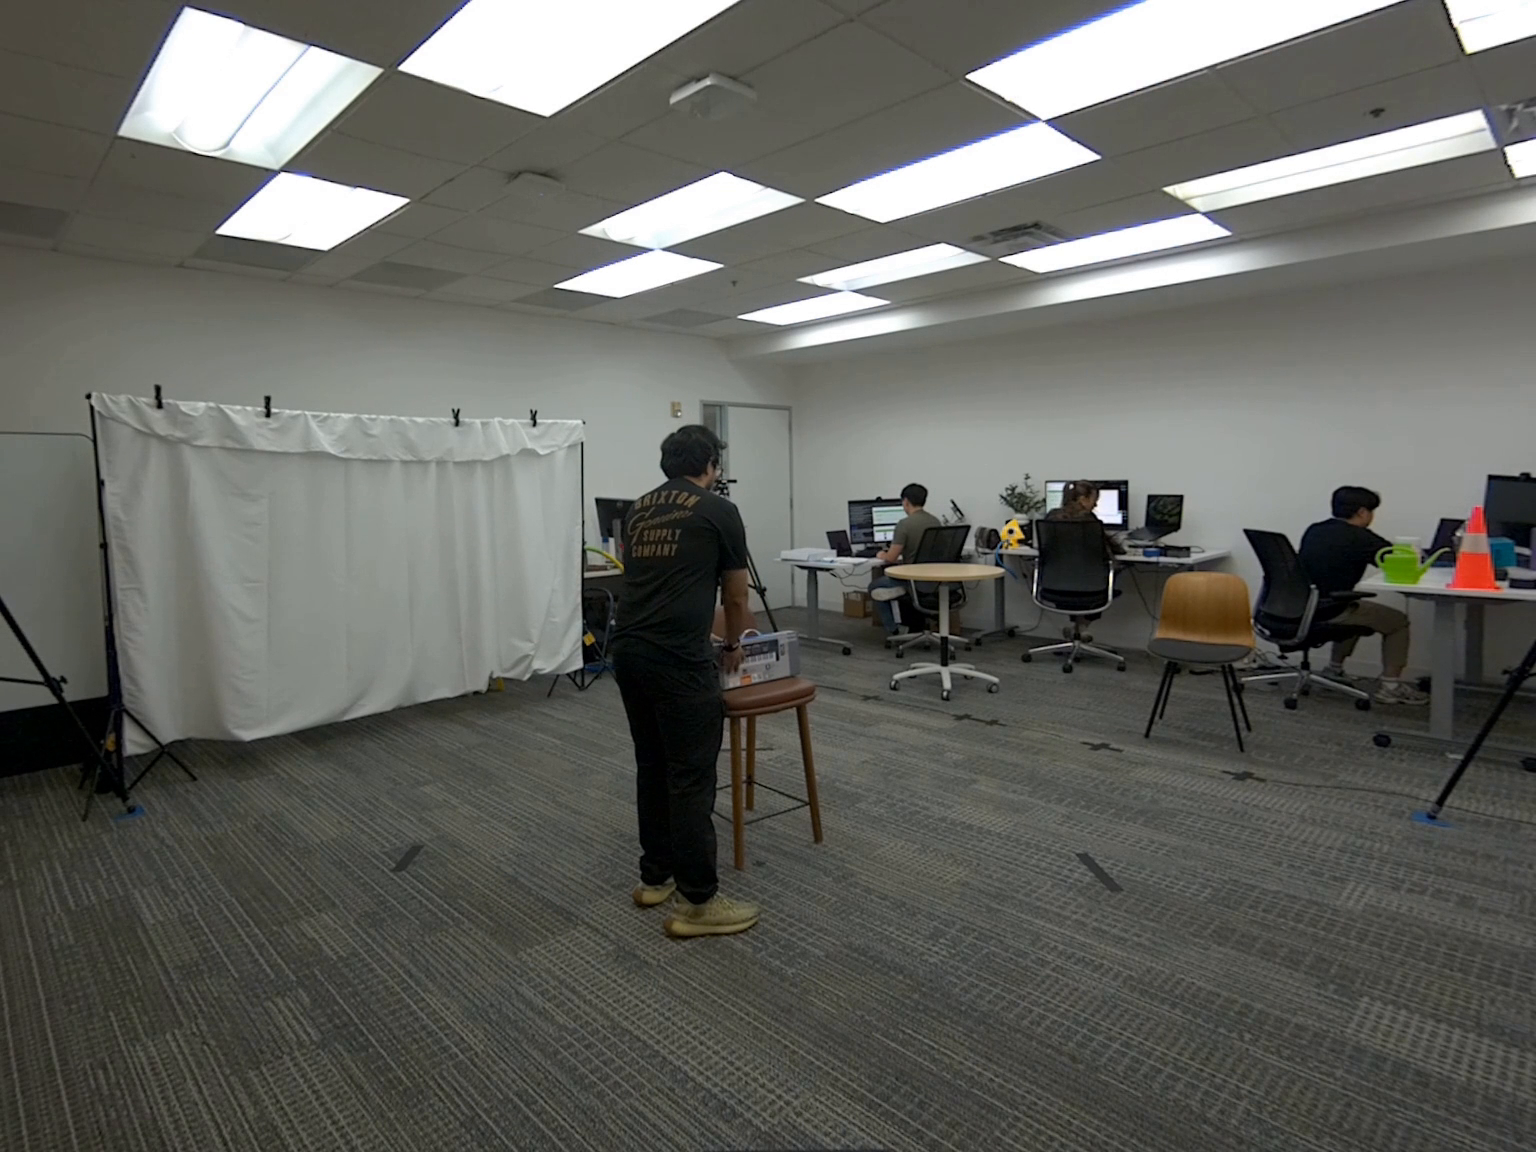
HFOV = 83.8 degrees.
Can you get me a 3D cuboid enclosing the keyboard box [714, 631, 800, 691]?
[{"bbox_3d":[-0.062,0.325,3.301,0.426,0.176,0.061,-7,2,-39],"label":"keyboard box"}]
